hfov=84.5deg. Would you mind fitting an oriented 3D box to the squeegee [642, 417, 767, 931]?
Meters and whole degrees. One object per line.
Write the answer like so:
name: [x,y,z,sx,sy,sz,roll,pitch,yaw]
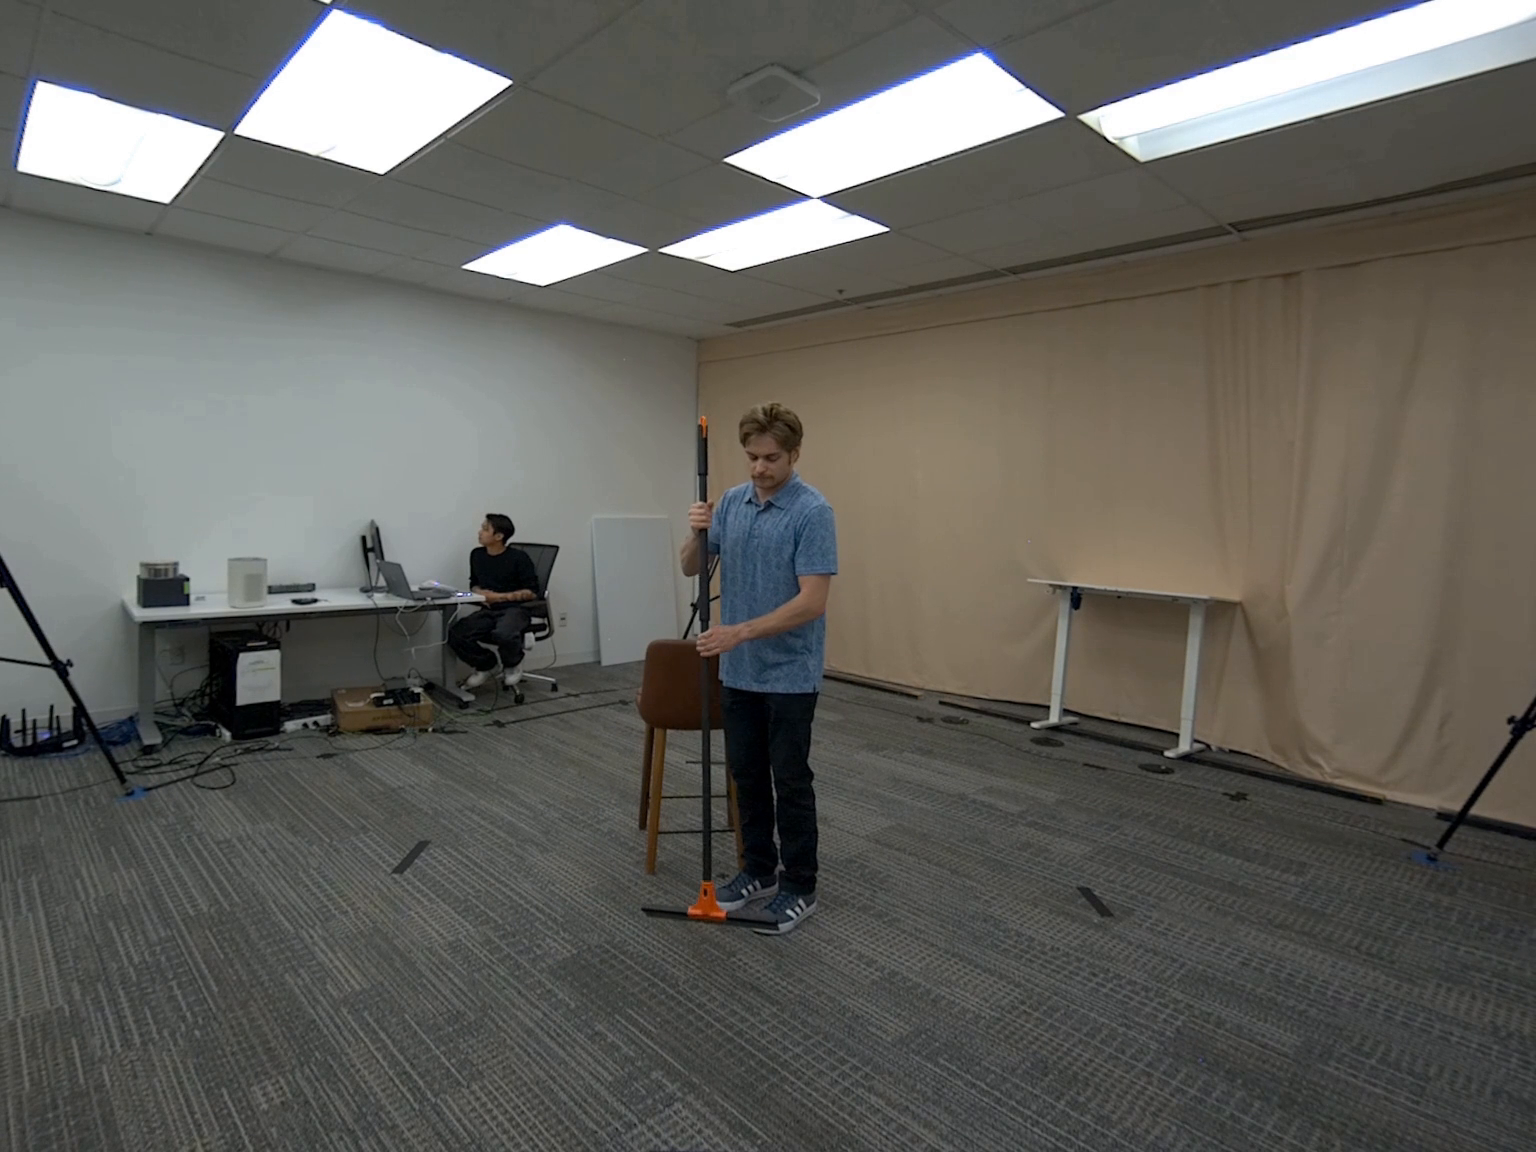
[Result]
squeegee: [-0.198,0.292,2.560,0.445,1.547,0.052,-5,-9,26]
